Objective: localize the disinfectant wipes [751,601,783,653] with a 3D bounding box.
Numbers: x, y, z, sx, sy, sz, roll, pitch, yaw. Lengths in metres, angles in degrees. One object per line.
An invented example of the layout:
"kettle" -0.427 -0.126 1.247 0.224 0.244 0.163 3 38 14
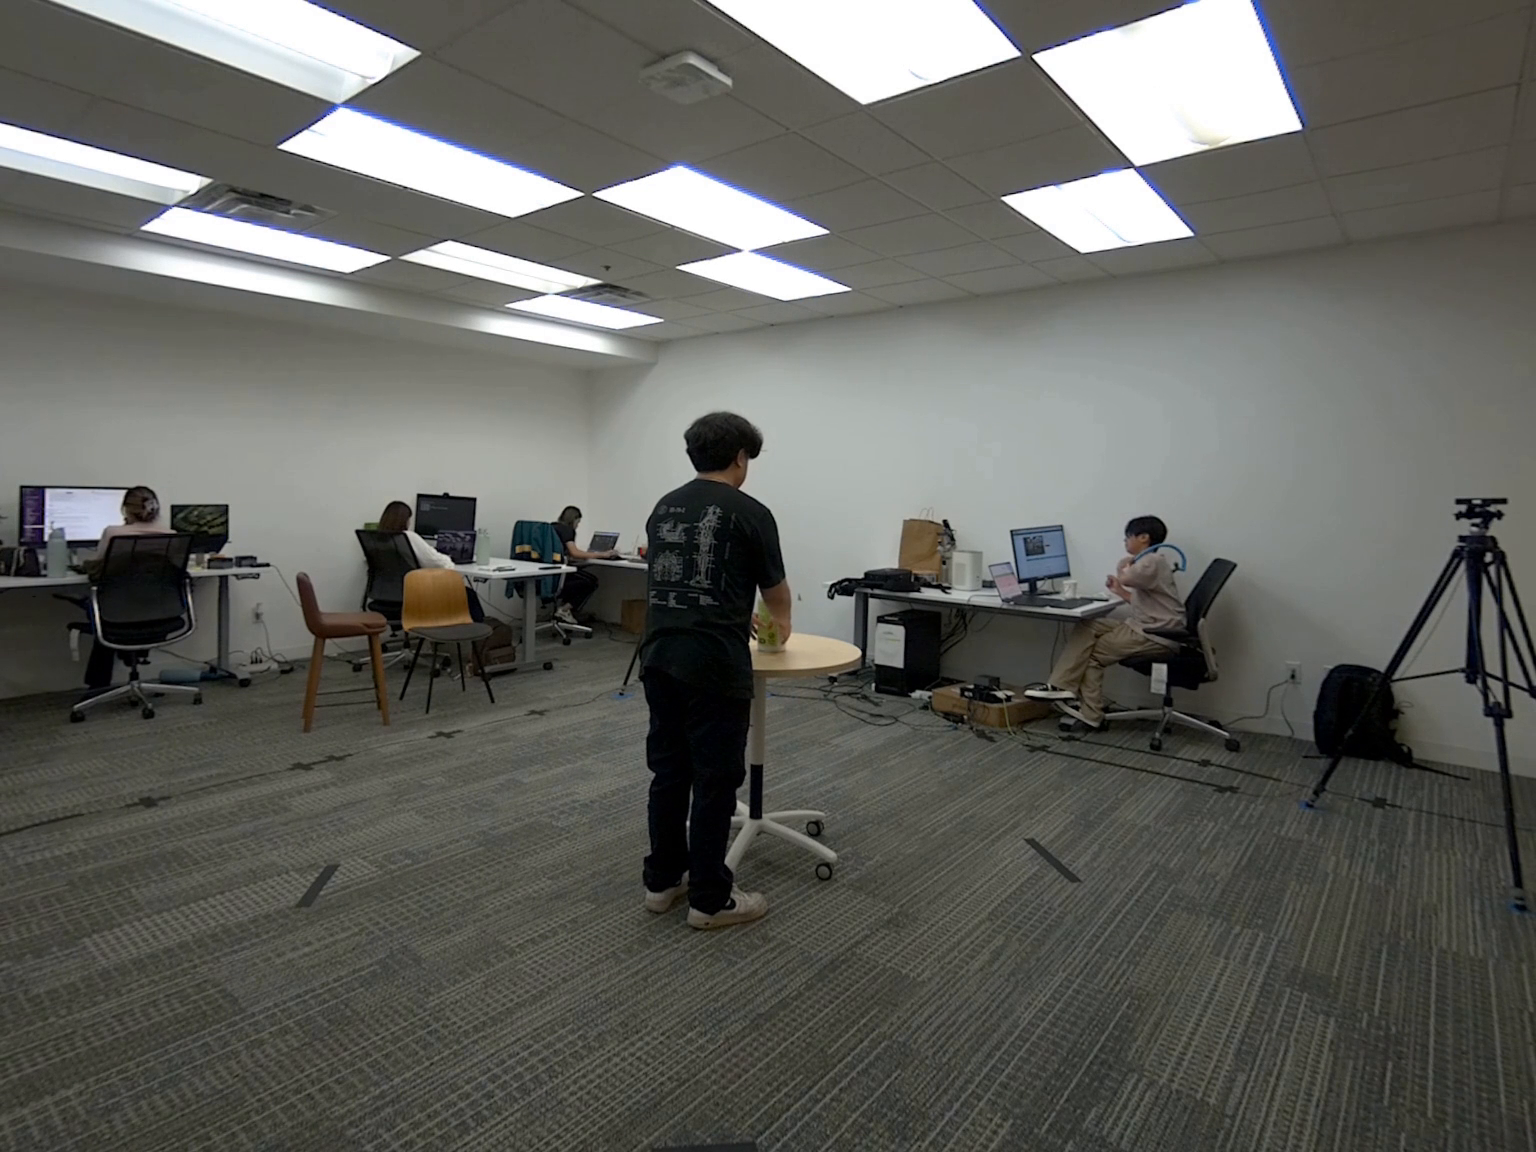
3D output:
"disinfectant wipes" 0.005 0.170 3.187 0.118 0.217 0.118 2 2 -2
